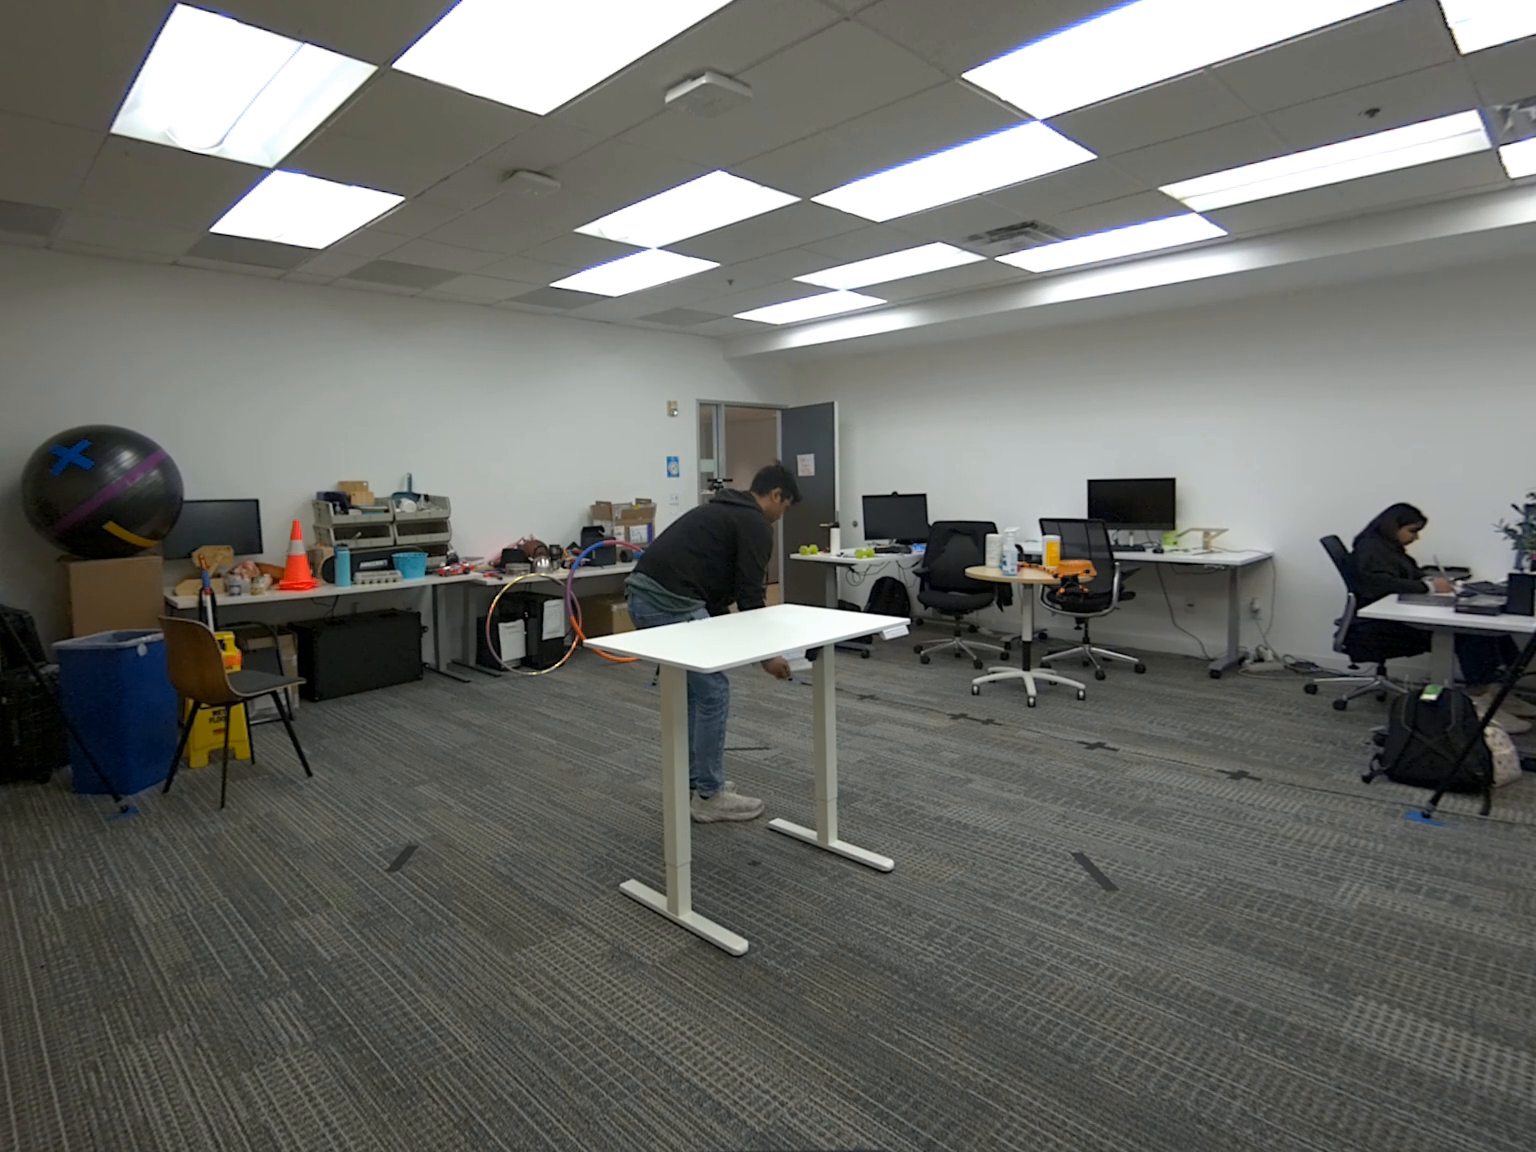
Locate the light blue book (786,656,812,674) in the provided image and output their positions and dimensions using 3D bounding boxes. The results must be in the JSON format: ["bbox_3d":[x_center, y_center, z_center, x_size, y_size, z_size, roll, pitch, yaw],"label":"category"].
[{"bbox_3d":[0.085,0.366,3.767,0.256,0.058,0.196,-6,9,-22],"label":"light blue book"}]
